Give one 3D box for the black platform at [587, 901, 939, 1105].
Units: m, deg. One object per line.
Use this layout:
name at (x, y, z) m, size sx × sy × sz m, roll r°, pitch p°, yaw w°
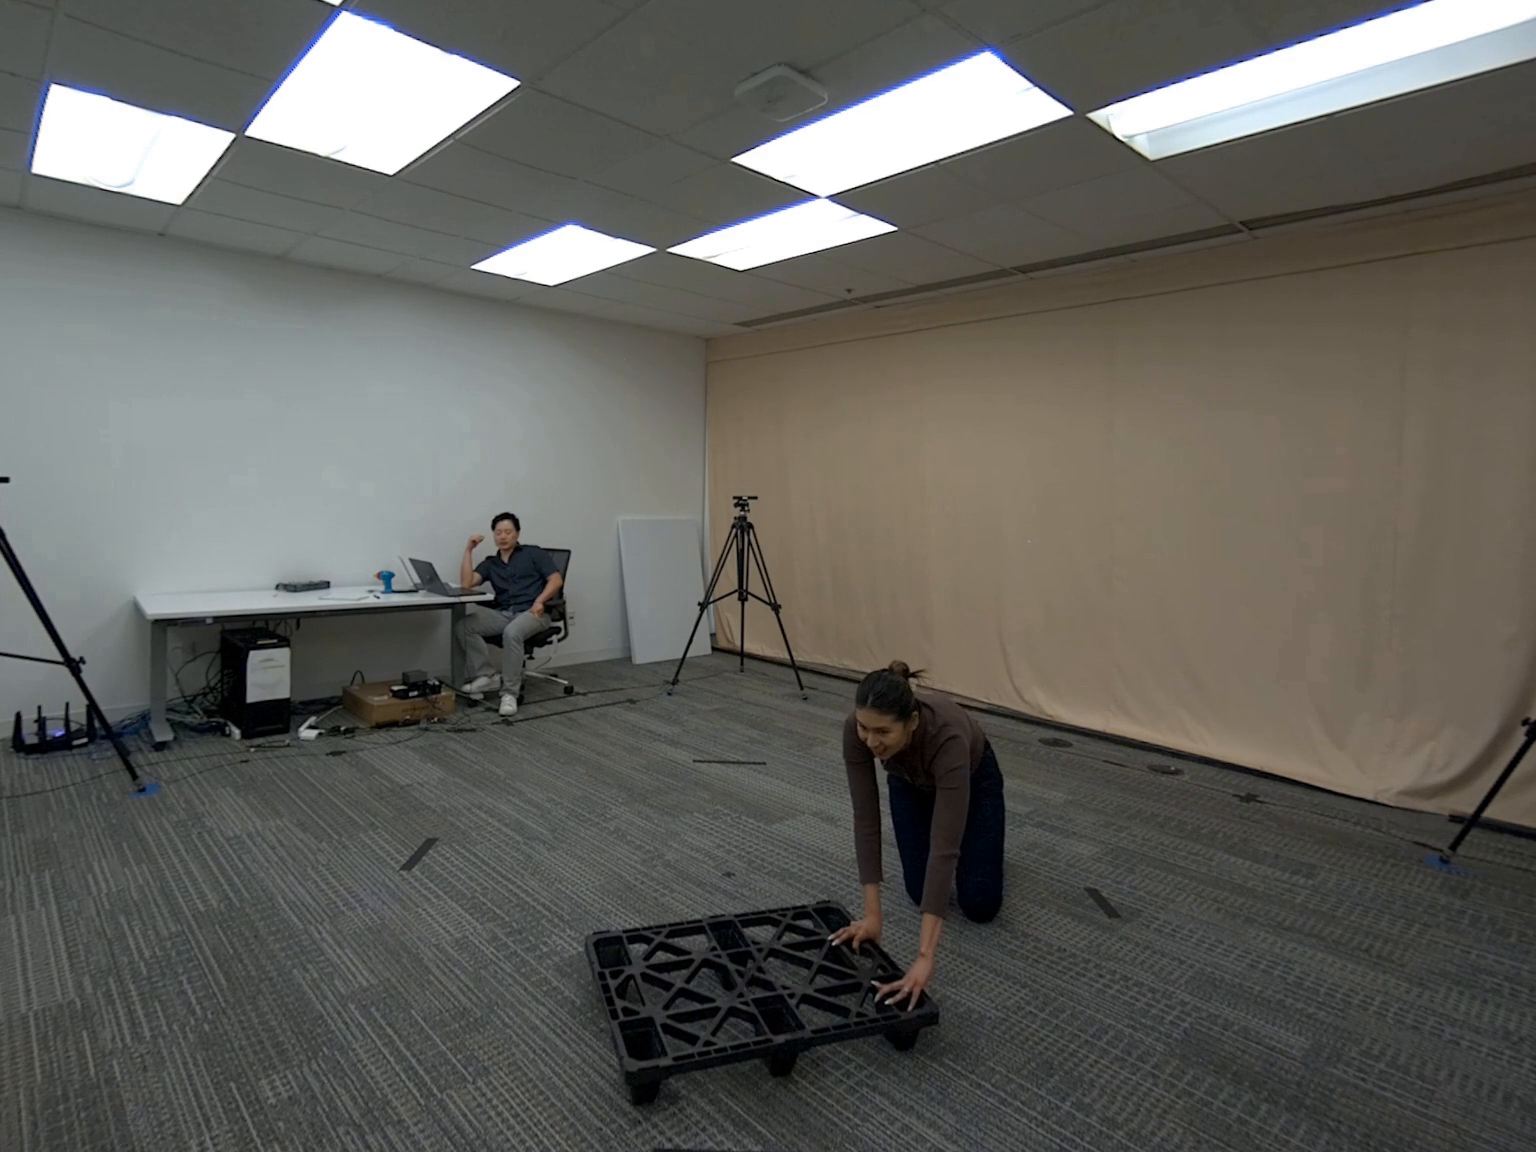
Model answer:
black platform at (-0.045, 1.117, 2.246) m, size 0.794 × 0.143 × 0.616 m, roll -1°, pitch 7°, yaw -20°
